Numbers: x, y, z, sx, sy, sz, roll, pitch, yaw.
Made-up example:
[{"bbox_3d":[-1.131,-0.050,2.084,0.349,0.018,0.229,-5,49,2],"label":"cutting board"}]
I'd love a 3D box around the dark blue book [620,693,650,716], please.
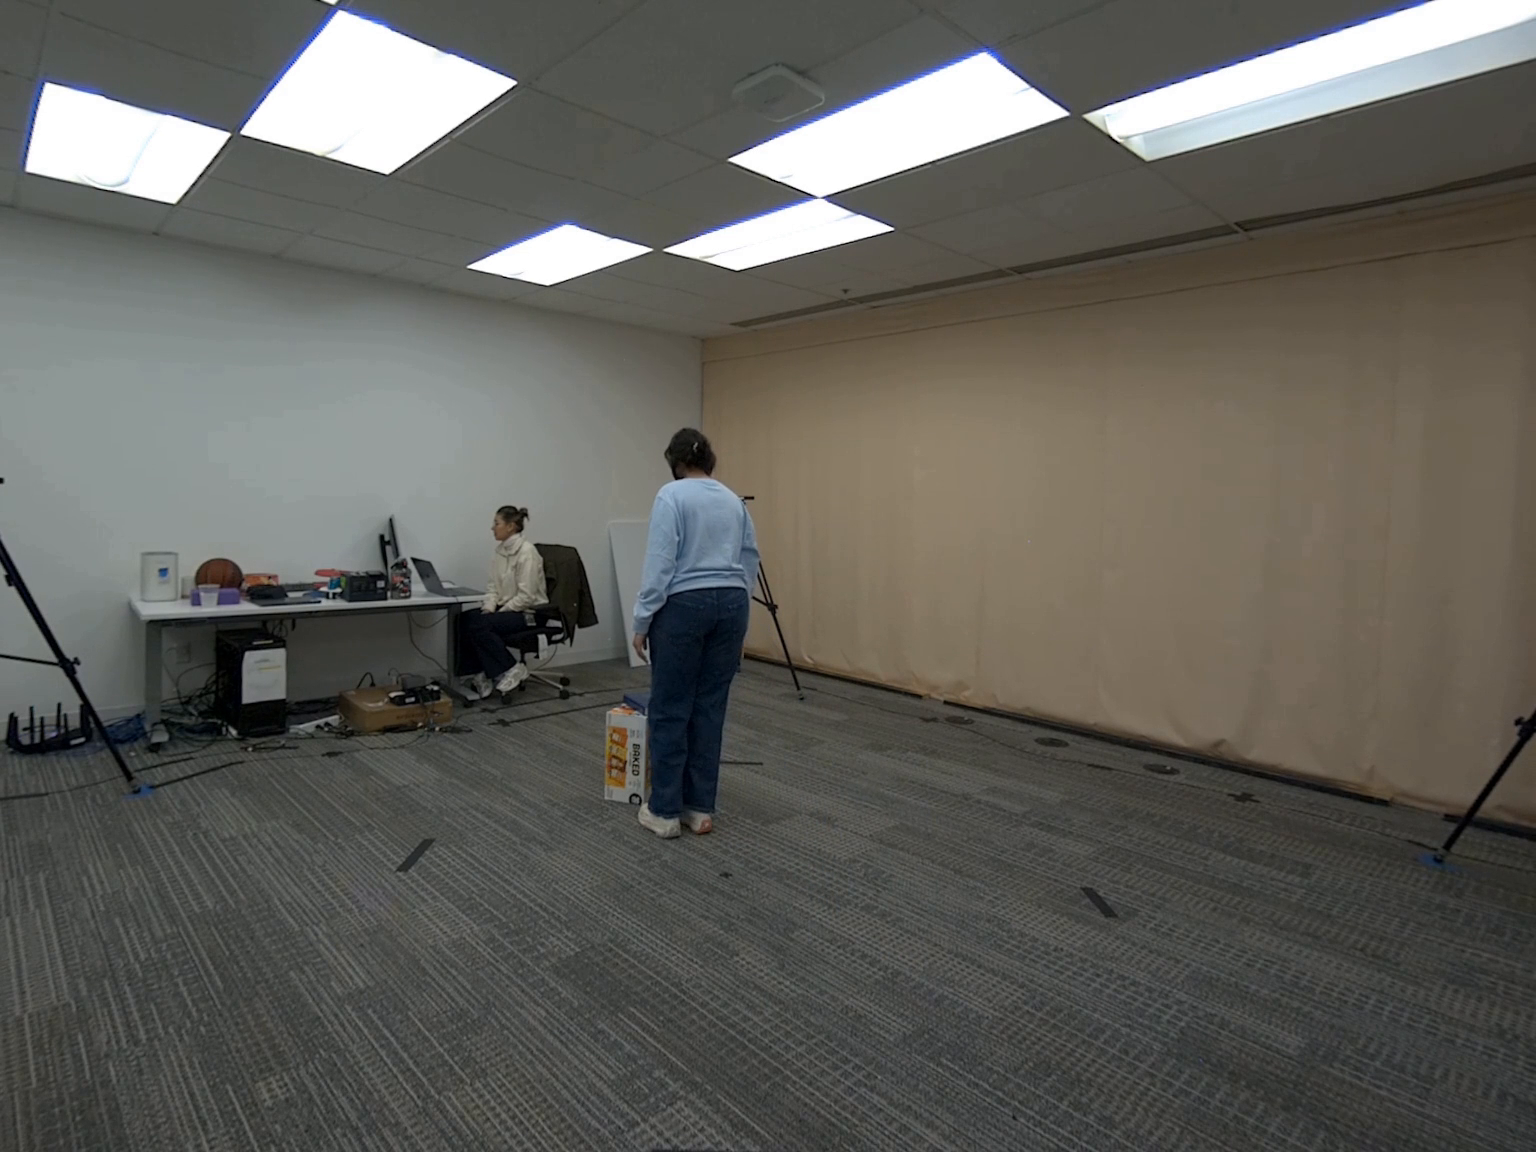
[{"bbox_3d":[-0.557,0.593,3.939,0.160,0.045,0.251,-1,8,-34],"label":"dark blue book"}]
